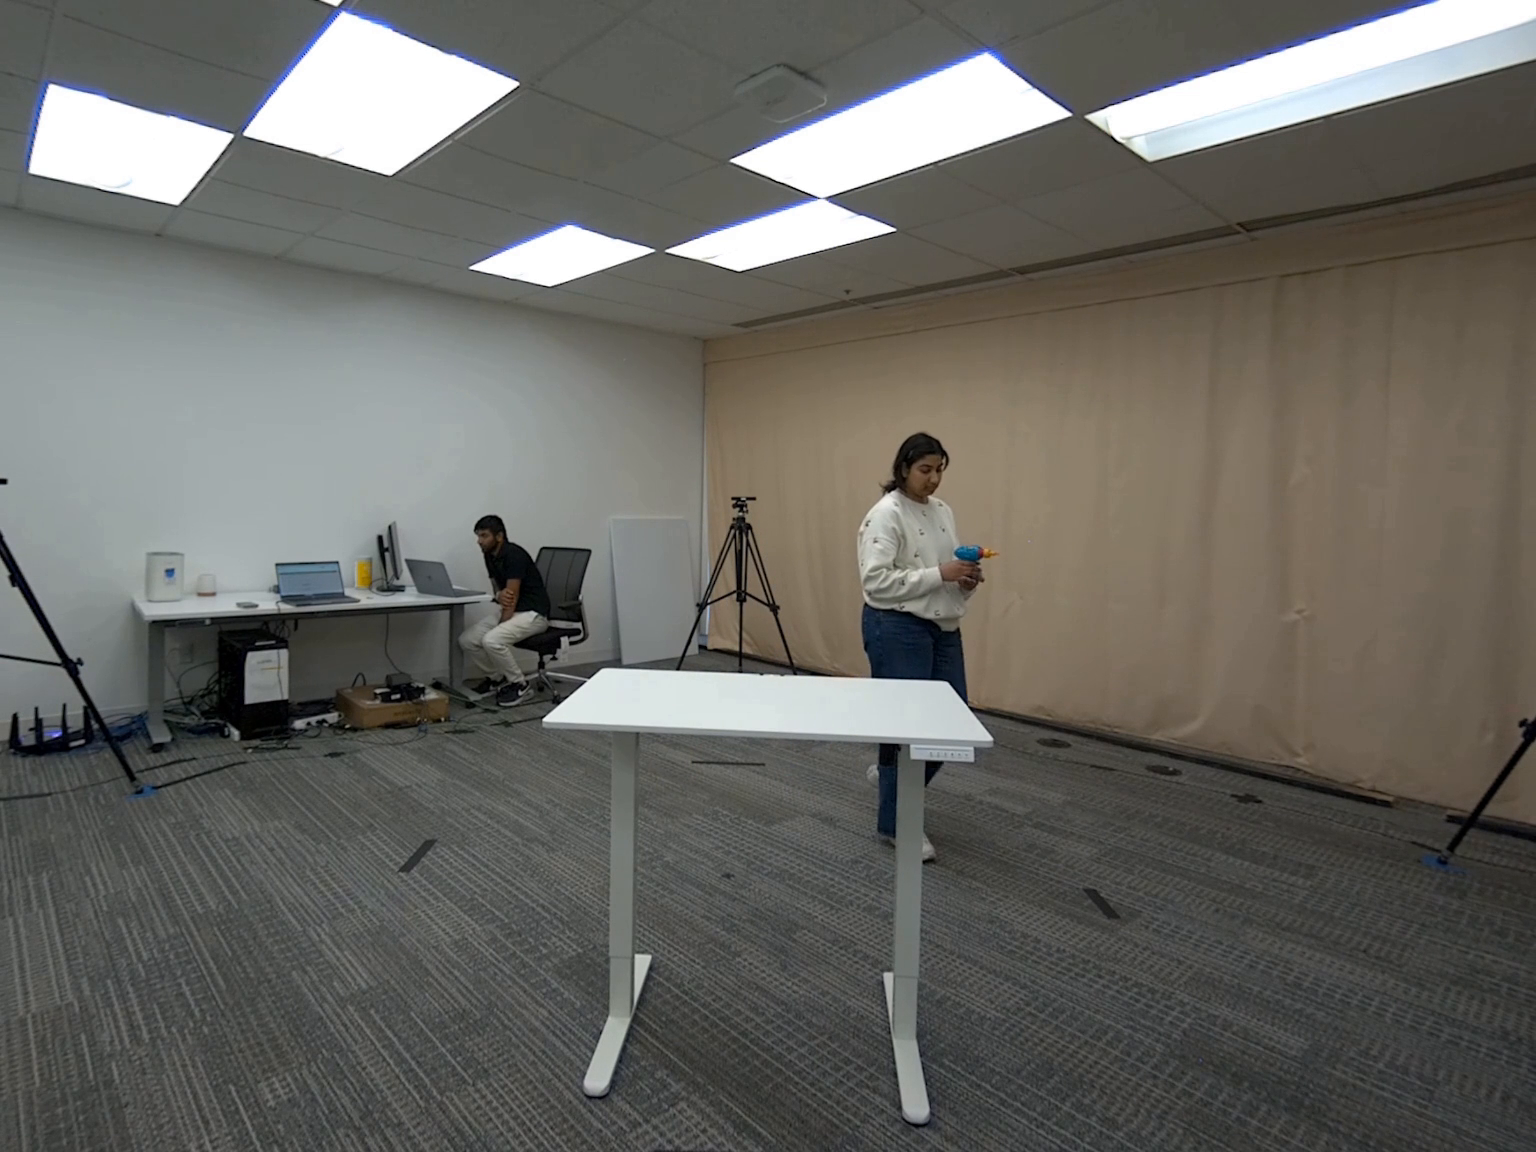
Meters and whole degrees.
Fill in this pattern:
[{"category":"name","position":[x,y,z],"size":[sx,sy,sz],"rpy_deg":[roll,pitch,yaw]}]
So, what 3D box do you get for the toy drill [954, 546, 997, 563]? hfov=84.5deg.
[{"category":"toy drill","position":[0.783,-0.060,3.198],"size":[0.173,0.142,0.062],"rpy_deg":[0,45,24]}]
